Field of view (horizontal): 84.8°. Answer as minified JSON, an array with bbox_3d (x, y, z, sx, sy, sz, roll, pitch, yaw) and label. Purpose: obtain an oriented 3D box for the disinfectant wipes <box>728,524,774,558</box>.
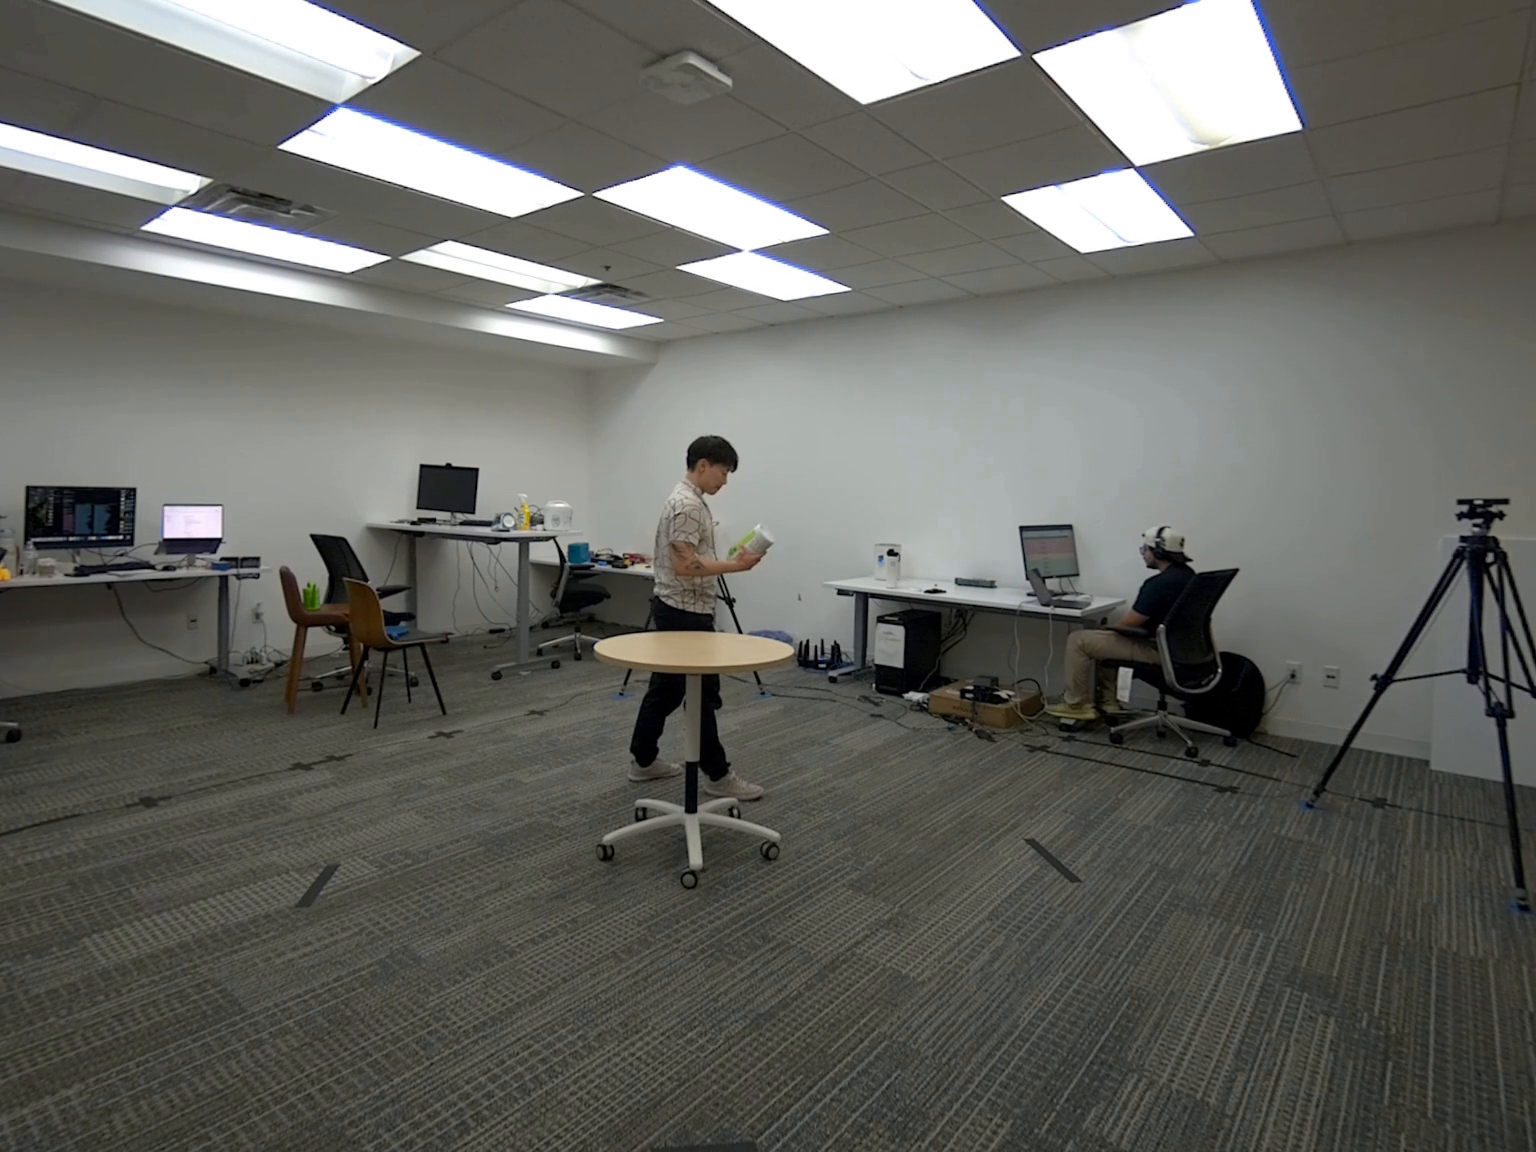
[{"bbox_3d":[-0.091,-0.129,3.802,0.218,0.119,0.116,-42,-10,16],"label":"disinfectant wipes"}]
